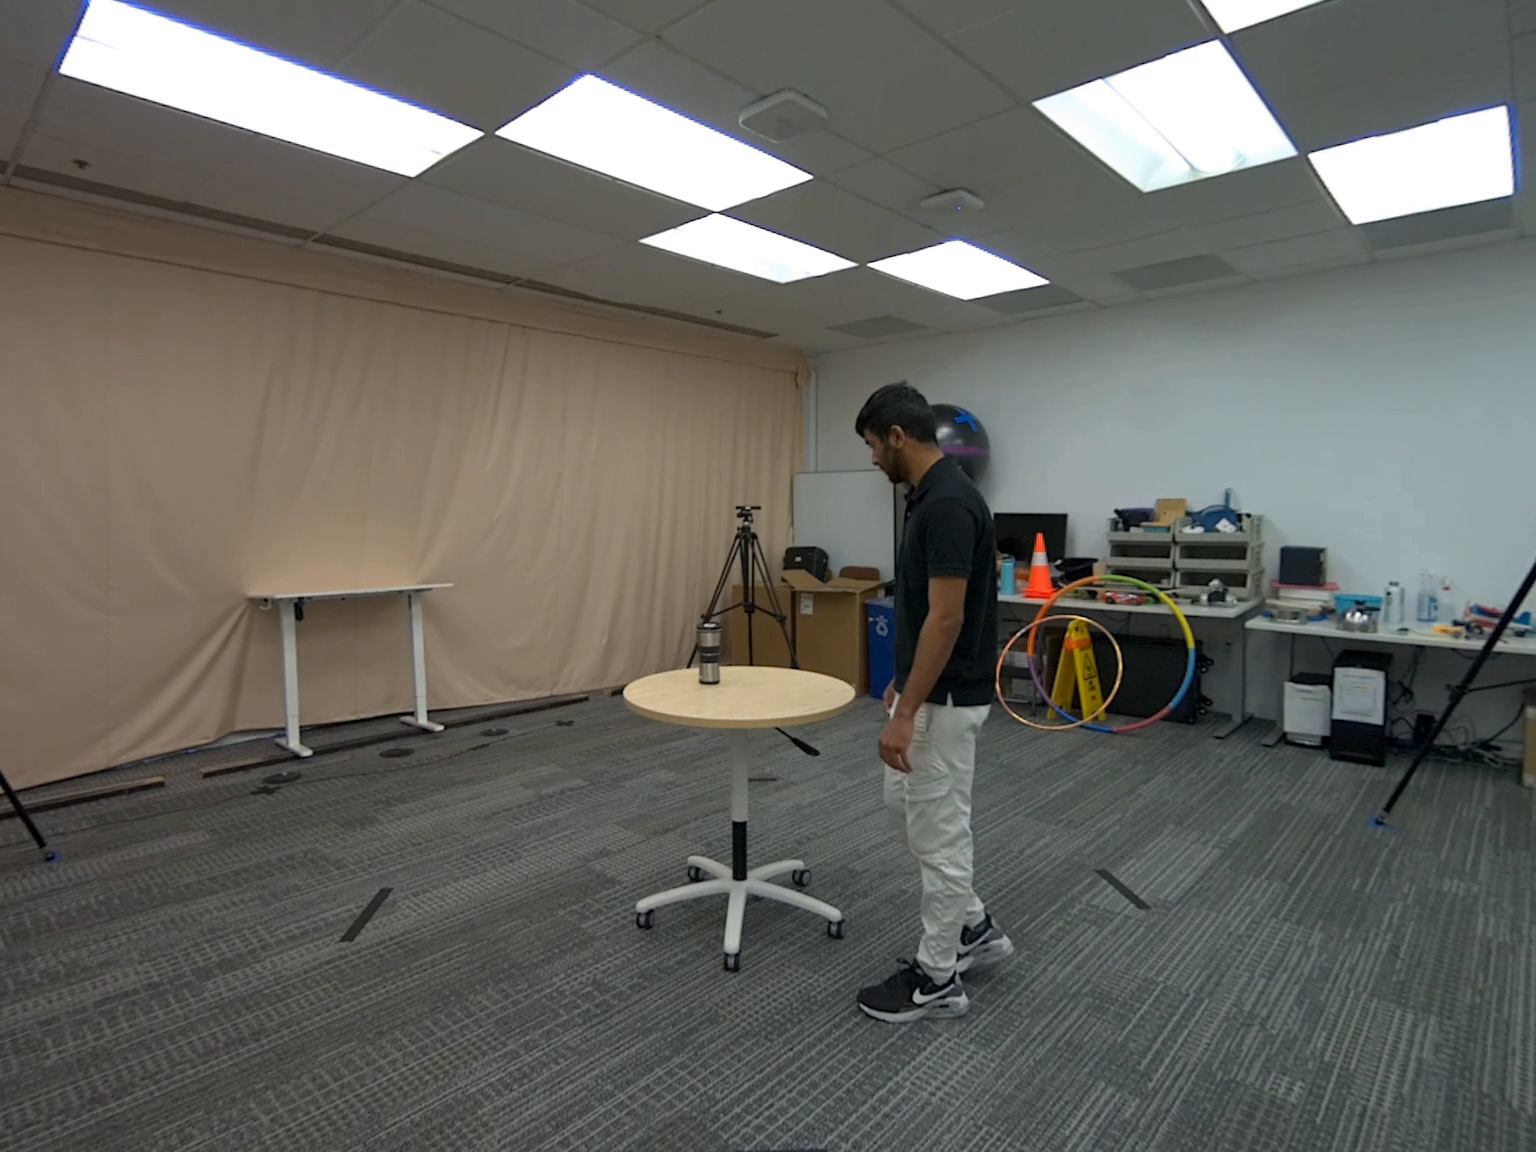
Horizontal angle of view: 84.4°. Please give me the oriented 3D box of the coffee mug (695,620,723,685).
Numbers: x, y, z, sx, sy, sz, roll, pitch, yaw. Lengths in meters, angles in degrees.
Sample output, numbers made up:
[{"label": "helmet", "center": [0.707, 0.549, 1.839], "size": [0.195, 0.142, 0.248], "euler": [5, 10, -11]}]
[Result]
[{"label": "coffee mug", "center": [-0.193, 0.274, 2.884], "size": [0.085, 0.203, 0.125], "euler": [-2, 0, -35]}]
